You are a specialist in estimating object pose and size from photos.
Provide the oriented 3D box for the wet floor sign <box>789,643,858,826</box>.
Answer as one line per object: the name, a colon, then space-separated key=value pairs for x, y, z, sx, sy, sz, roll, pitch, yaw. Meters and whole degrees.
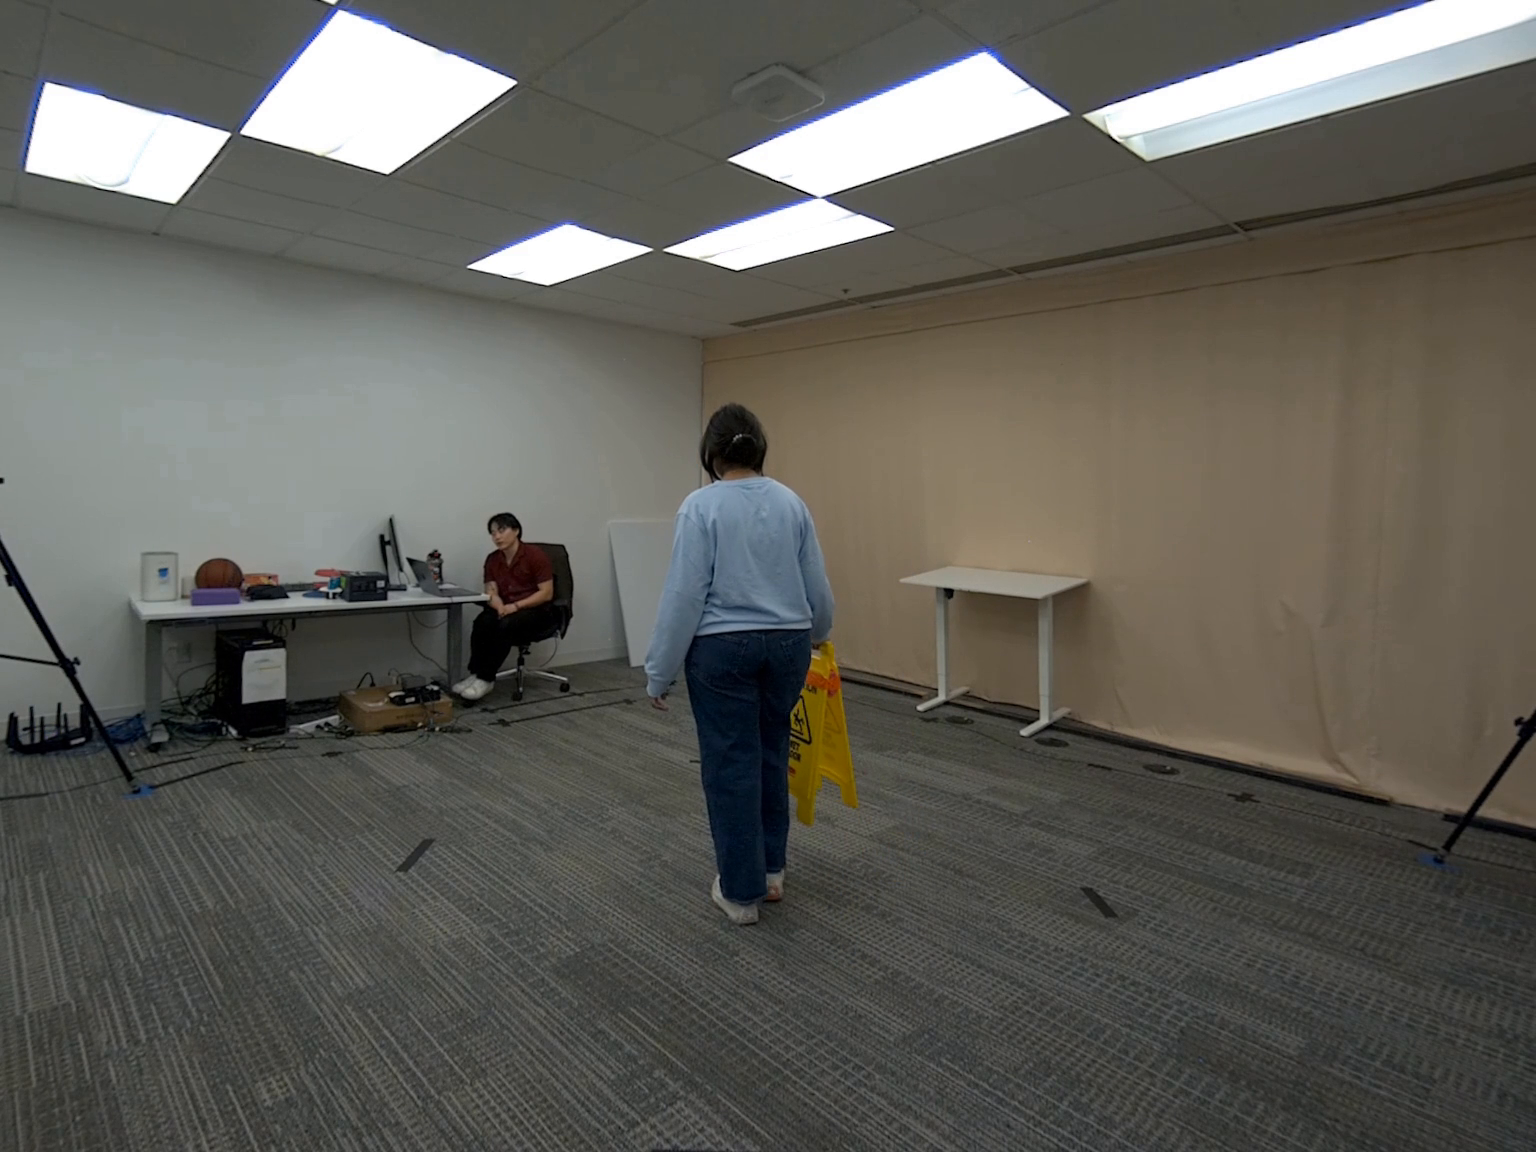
wet floor sign: x=0.157 y=0.548 z=3.119 sx=0.284 sy=0.642 sz=0.290 roll=-6 pitch=10 yaw=-37
